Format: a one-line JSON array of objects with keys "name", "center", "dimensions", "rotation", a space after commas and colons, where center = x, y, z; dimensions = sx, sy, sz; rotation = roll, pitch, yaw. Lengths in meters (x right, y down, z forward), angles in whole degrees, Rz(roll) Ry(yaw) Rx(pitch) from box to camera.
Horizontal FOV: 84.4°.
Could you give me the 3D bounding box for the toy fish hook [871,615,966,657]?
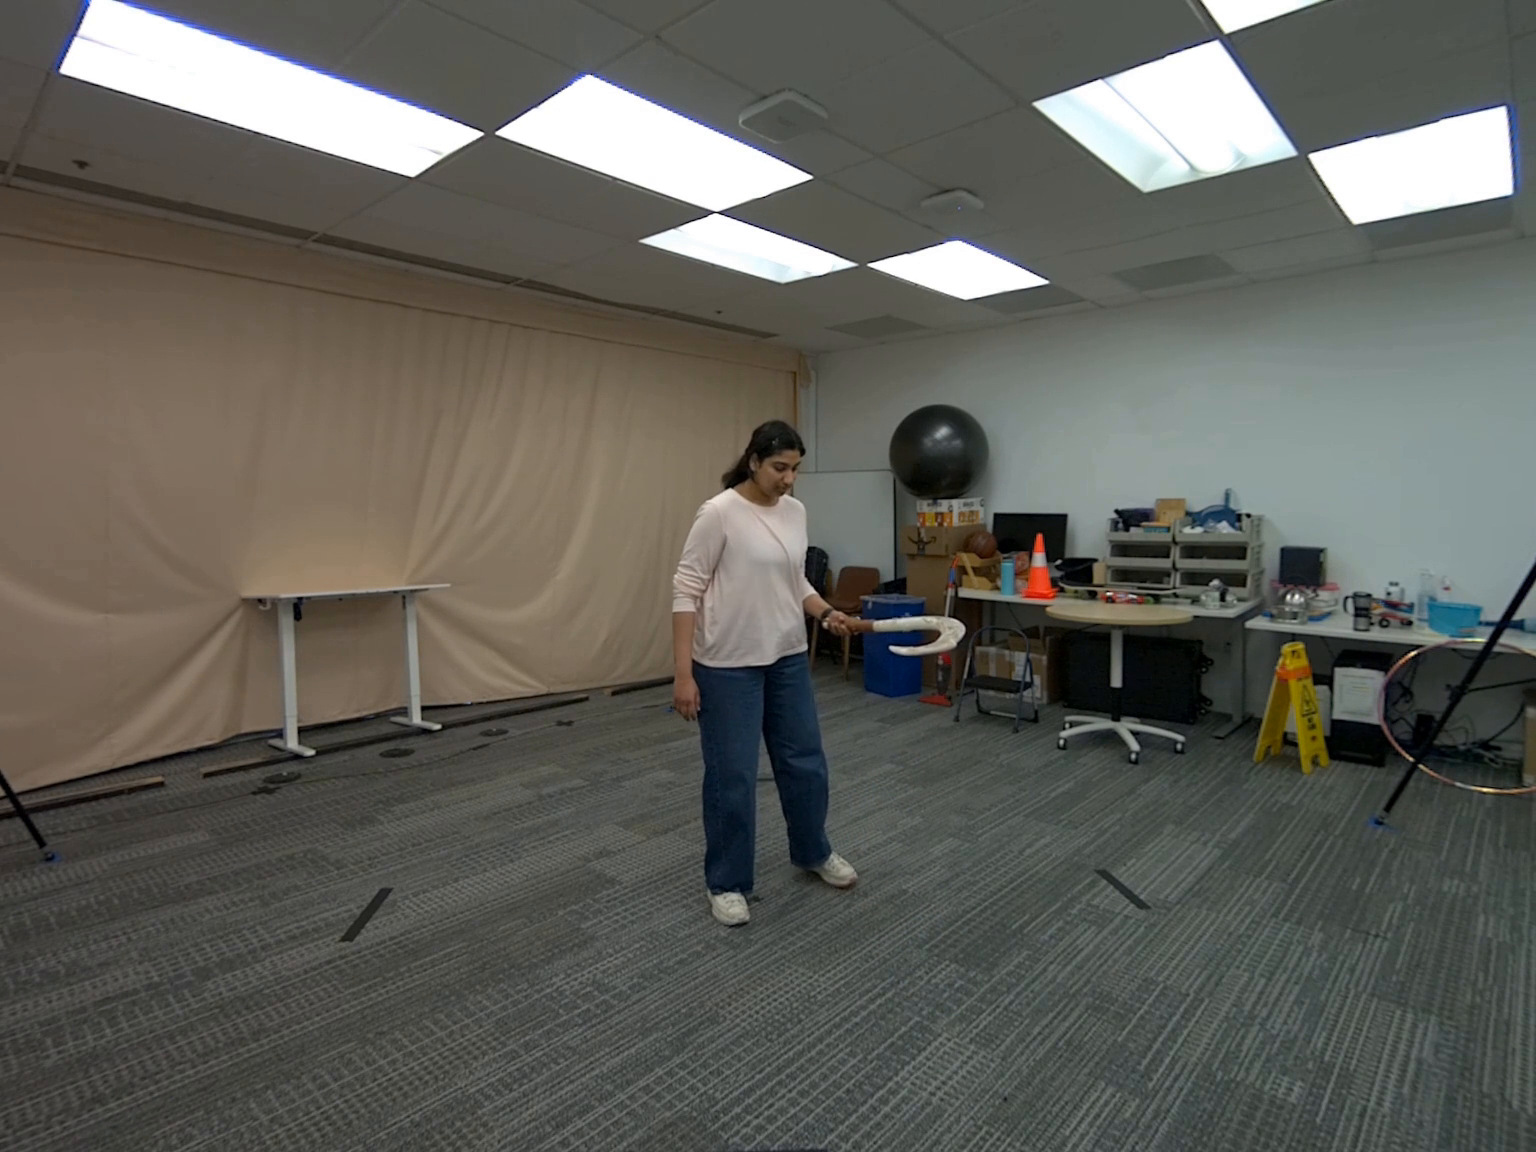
[{"name": "toy fish hook", "center": [0.375, 0.188, 2.692], "dimensions": [0.523, 0.048, 0.220], "rotation": [0, 20, 41]}]
